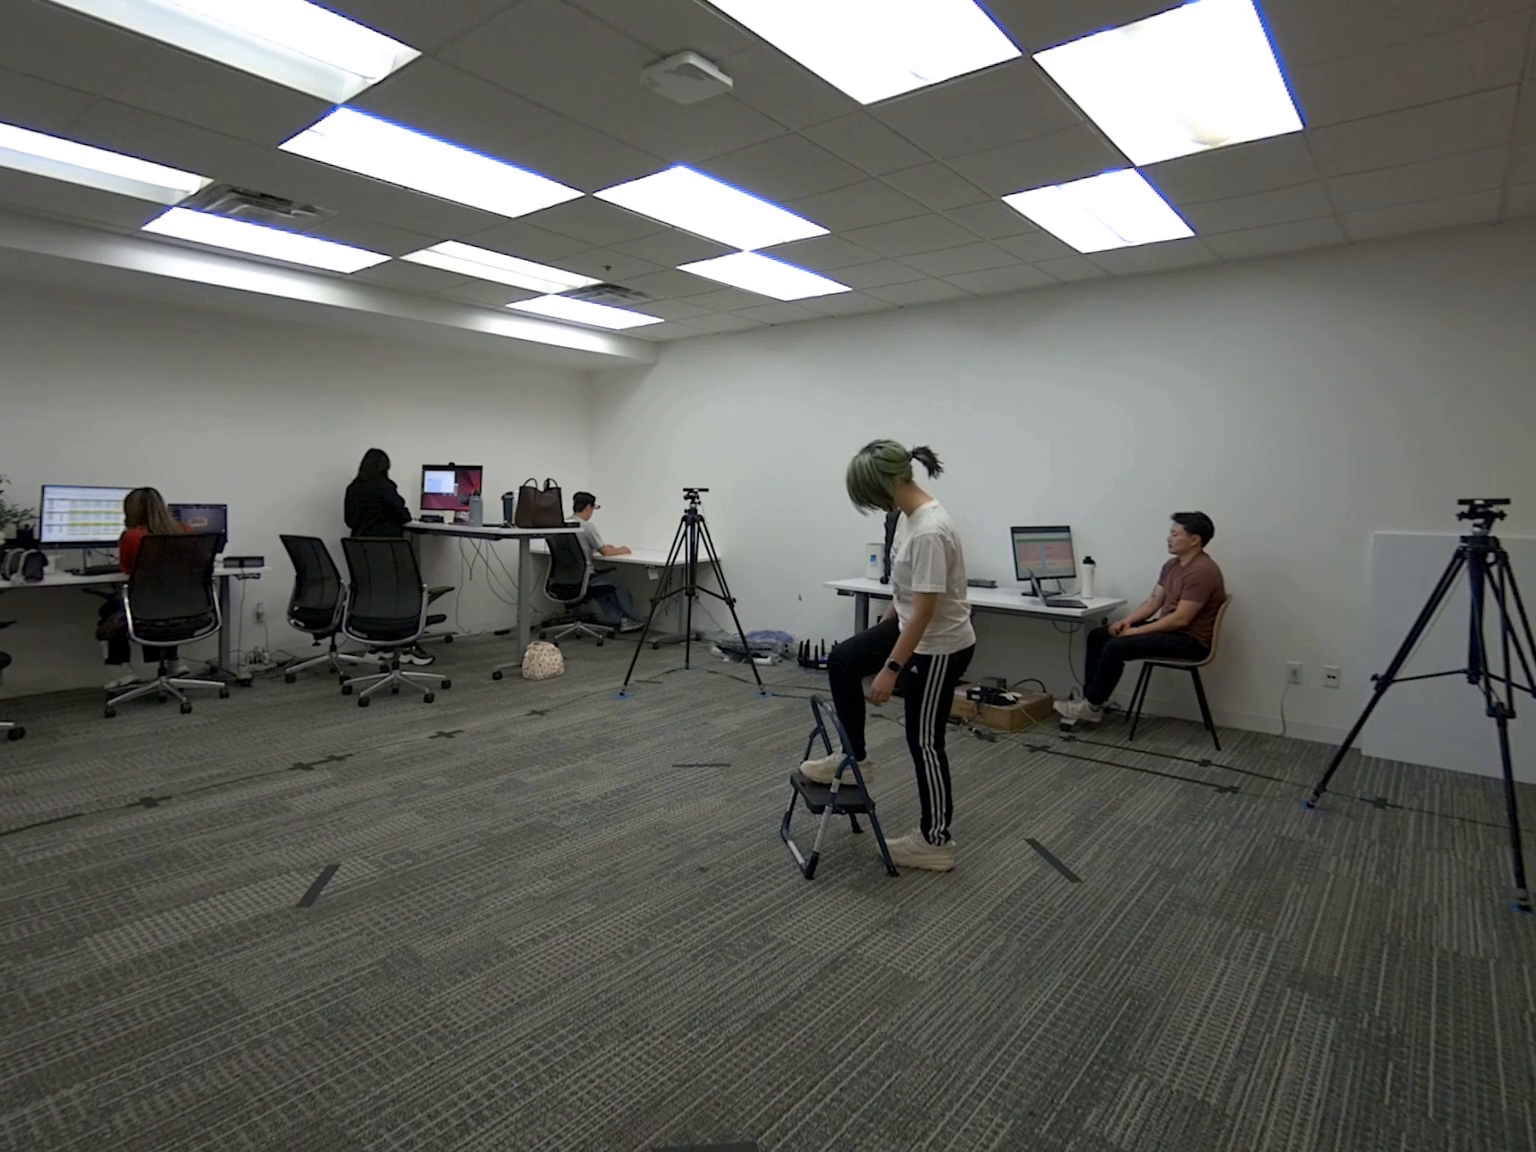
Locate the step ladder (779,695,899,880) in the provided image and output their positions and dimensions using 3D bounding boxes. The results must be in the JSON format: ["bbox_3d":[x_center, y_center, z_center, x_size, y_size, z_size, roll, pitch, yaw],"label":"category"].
[{"bbox_3d":[0.256,0.767,3.259,0.345,0.604,0.437,1,4,-11],"label":"step ladder"}]
